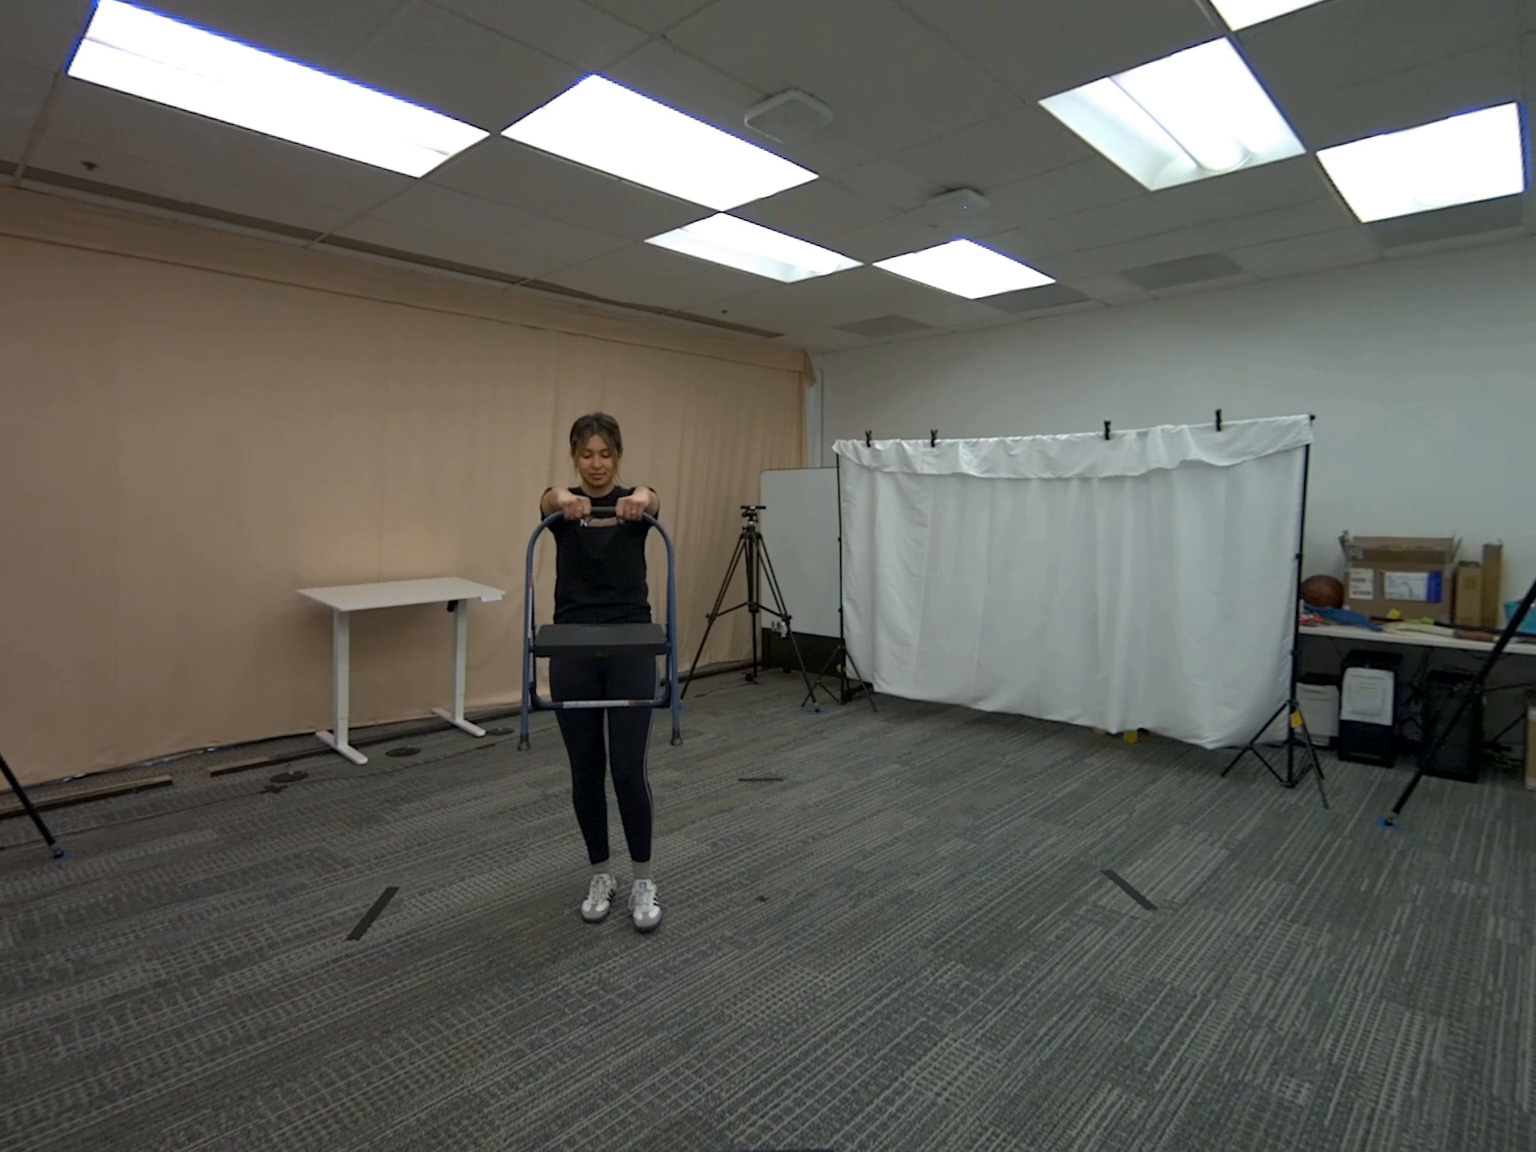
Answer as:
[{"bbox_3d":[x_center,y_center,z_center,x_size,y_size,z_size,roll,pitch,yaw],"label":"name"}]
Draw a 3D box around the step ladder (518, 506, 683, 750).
[{"bbox_3d":[-0.456,0.125,2.323,0.427,0.603,0.354,-1,6,-9],"label":"step ladder"}]
